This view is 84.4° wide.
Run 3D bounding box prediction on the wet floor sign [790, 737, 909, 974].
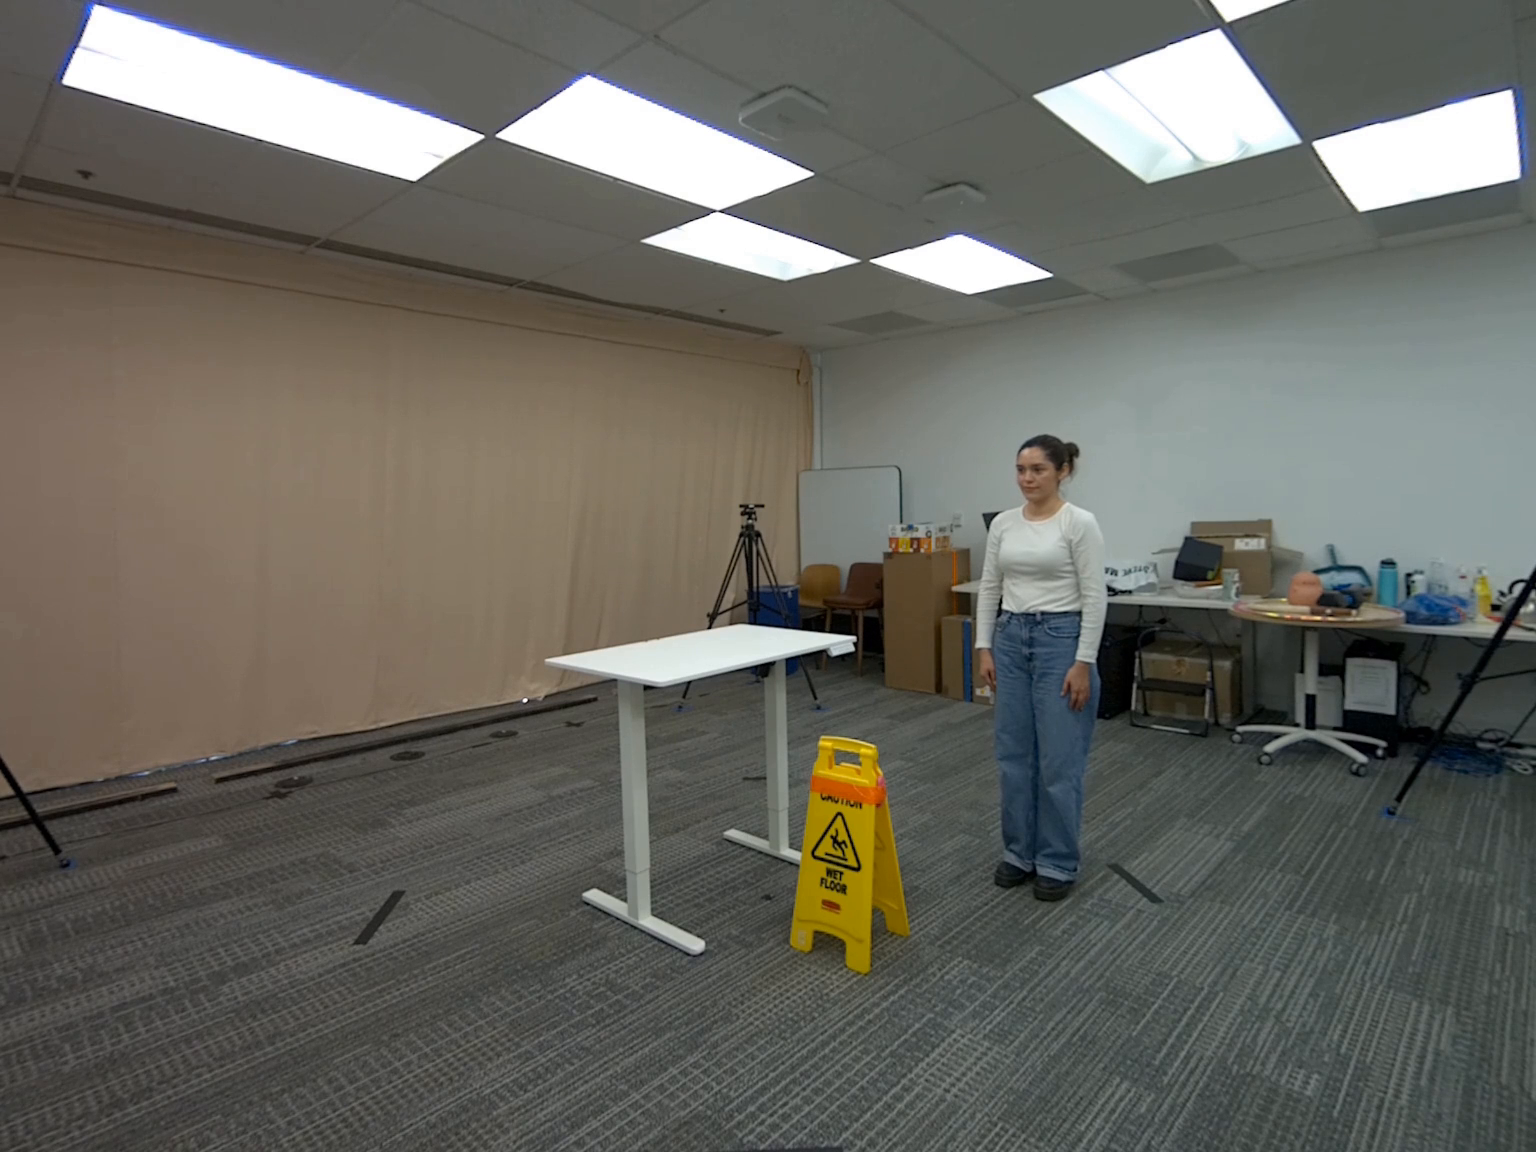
[{"bbox_3d":[0.265,0.841,2.659,0.291,0.645,0.281,2,4,37],"label":"wet floor sign"}]
